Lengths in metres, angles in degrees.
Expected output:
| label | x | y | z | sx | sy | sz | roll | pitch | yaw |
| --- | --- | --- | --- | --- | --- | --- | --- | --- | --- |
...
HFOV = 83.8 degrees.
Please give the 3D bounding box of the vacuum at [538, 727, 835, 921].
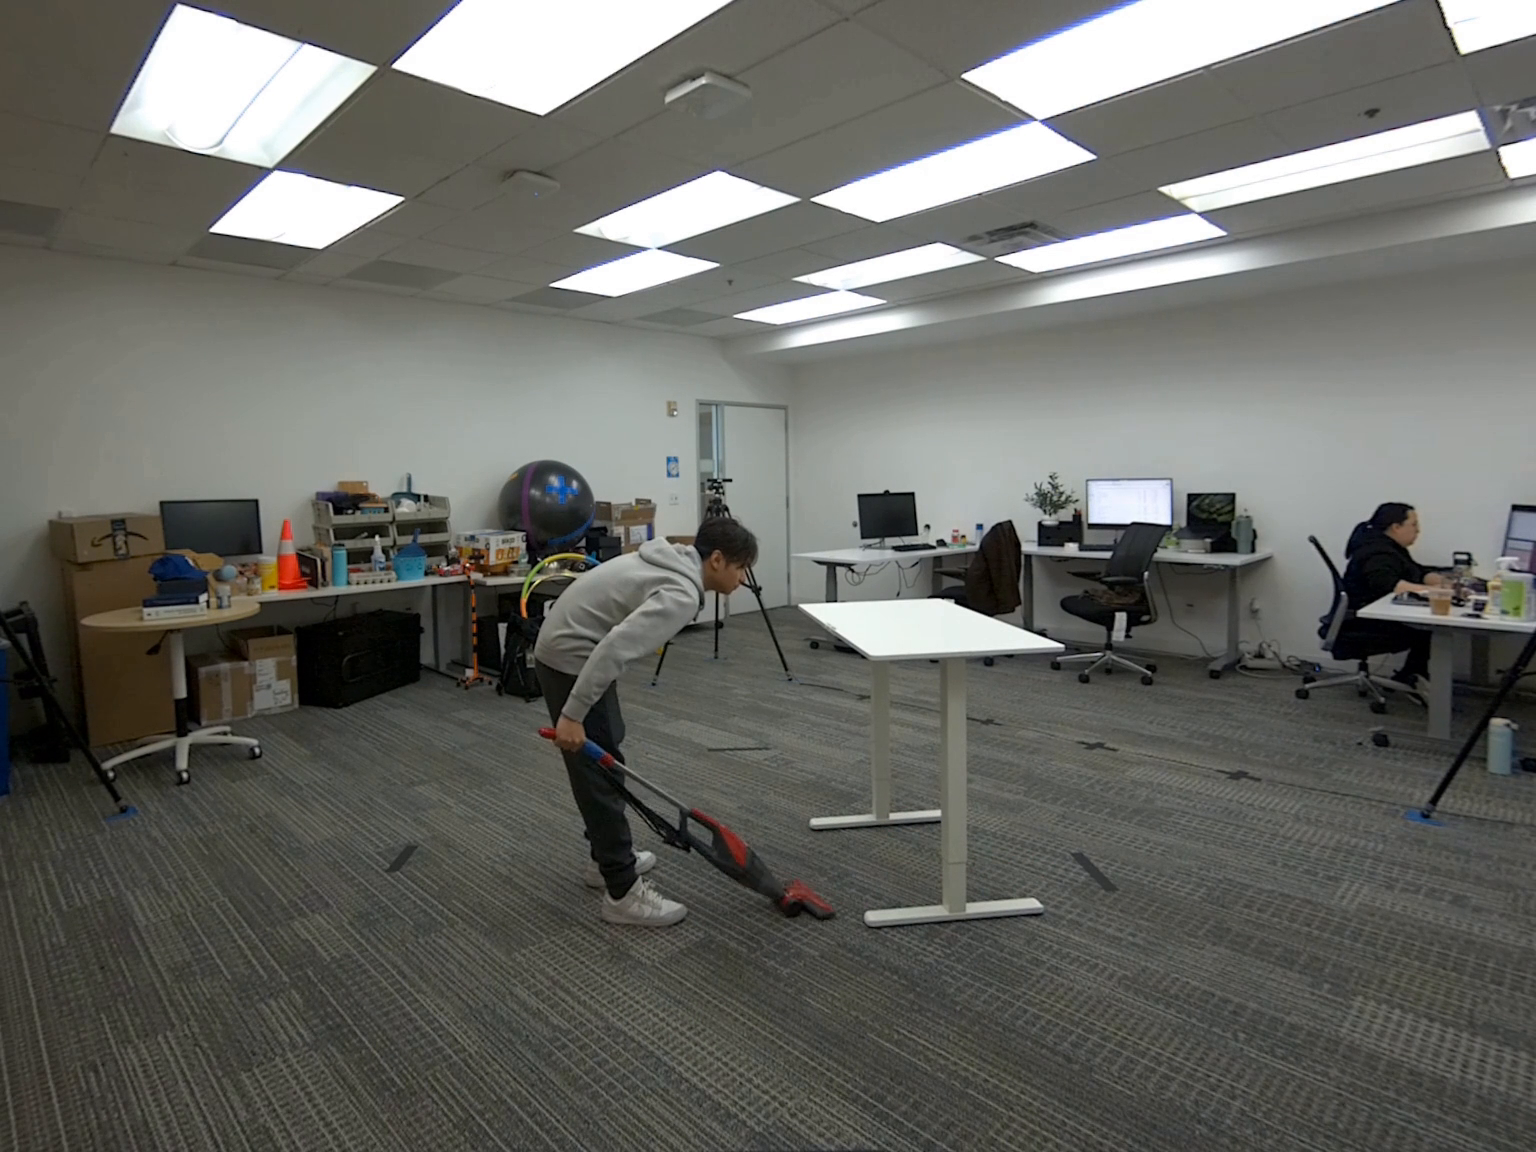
| label | x | y | z | sx | sy | sz | roll | pitch | yaw |
| --- | --- | --- | --- | --- | --- | --- | --- | --- | --- |
| vacuum | -0.250 | 0.767 | 2.630 | 1.023 | 0.144 | 0.258 | 38 | -15 | -20 |
